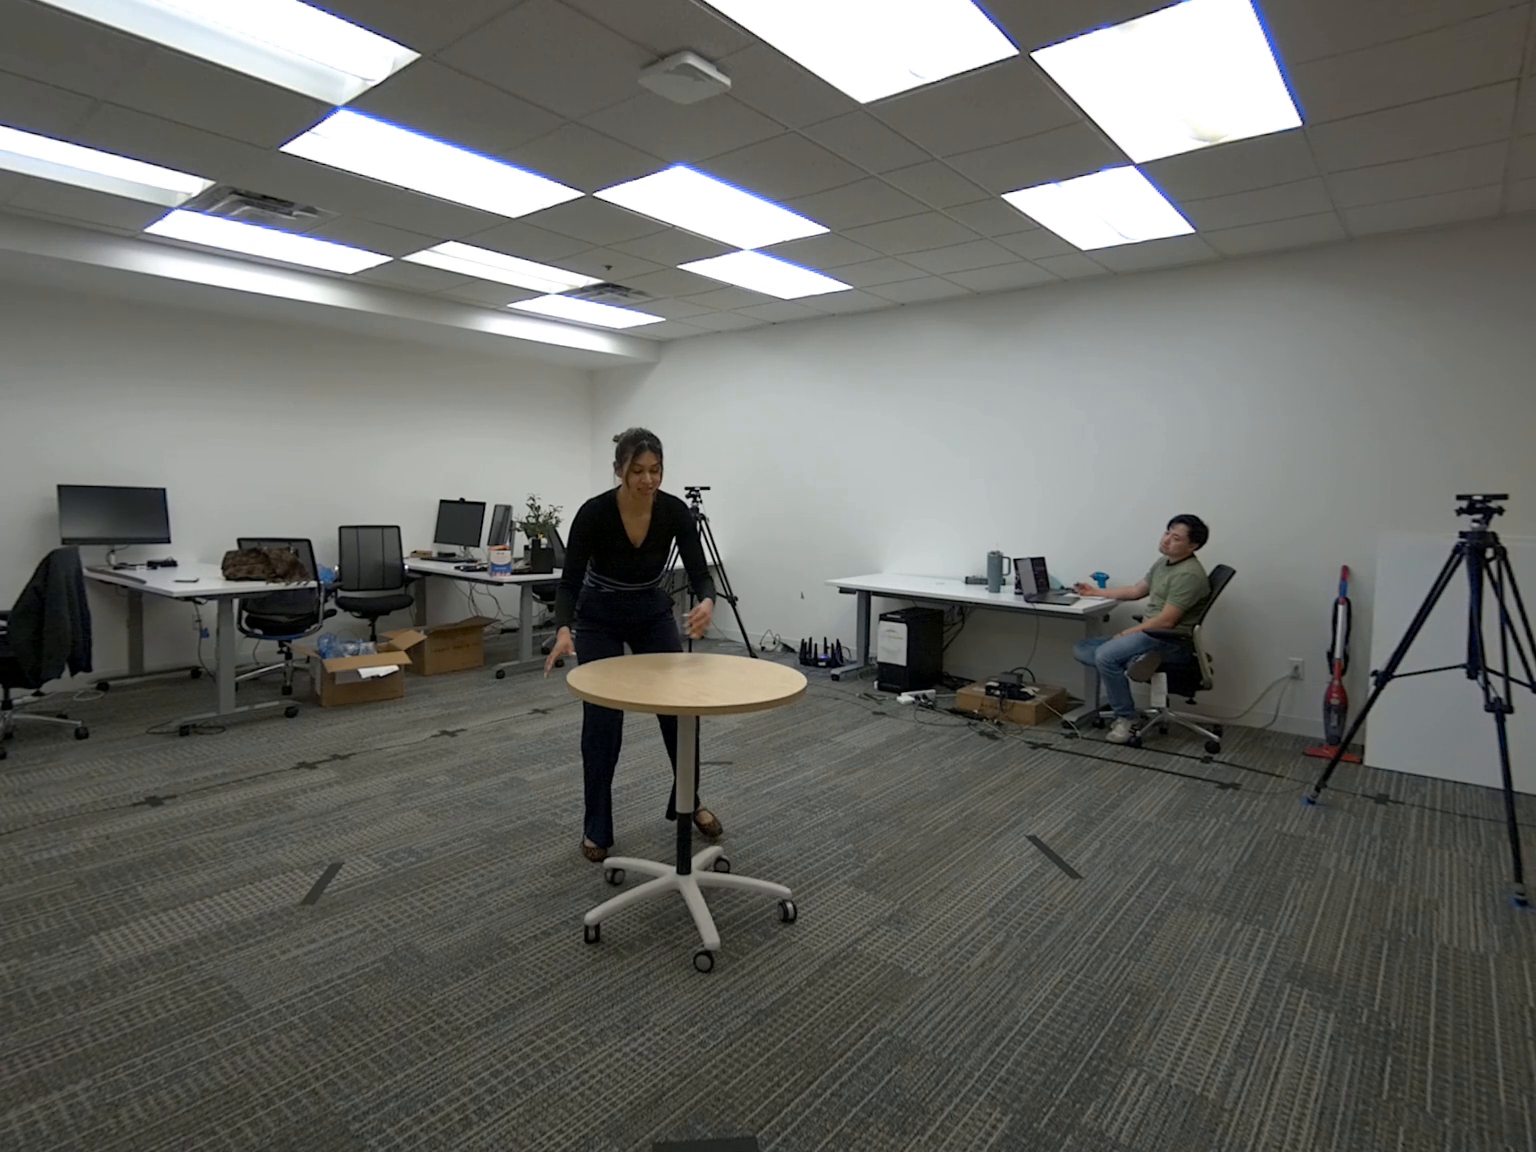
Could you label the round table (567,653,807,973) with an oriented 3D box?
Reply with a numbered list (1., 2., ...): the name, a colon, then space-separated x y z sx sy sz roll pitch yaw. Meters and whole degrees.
1. round table: -0.268 0.711 2.747 0.763 0.791 0.768 1 4 -2
